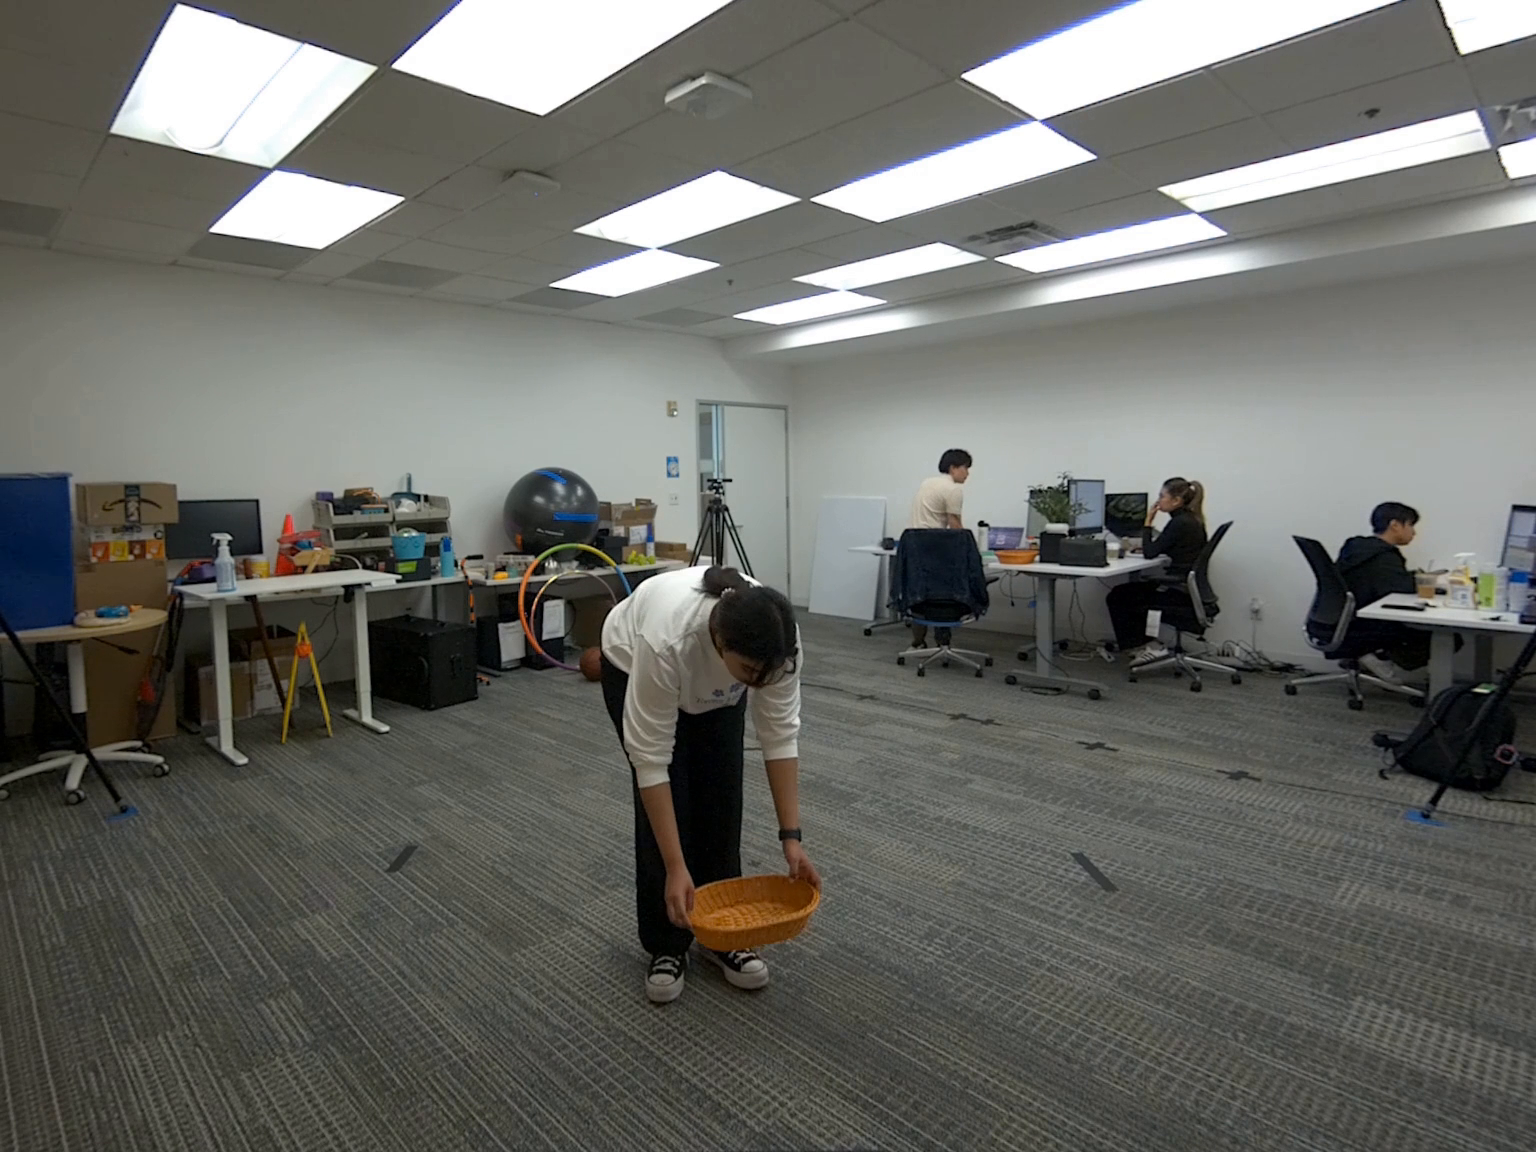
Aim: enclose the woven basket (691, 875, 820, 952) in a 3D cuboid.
[{"bbox_3d":[-0.042,0.833,2.112,0.345,0.073,0.257,-4,5,-19],"label":"woven basket"}]
